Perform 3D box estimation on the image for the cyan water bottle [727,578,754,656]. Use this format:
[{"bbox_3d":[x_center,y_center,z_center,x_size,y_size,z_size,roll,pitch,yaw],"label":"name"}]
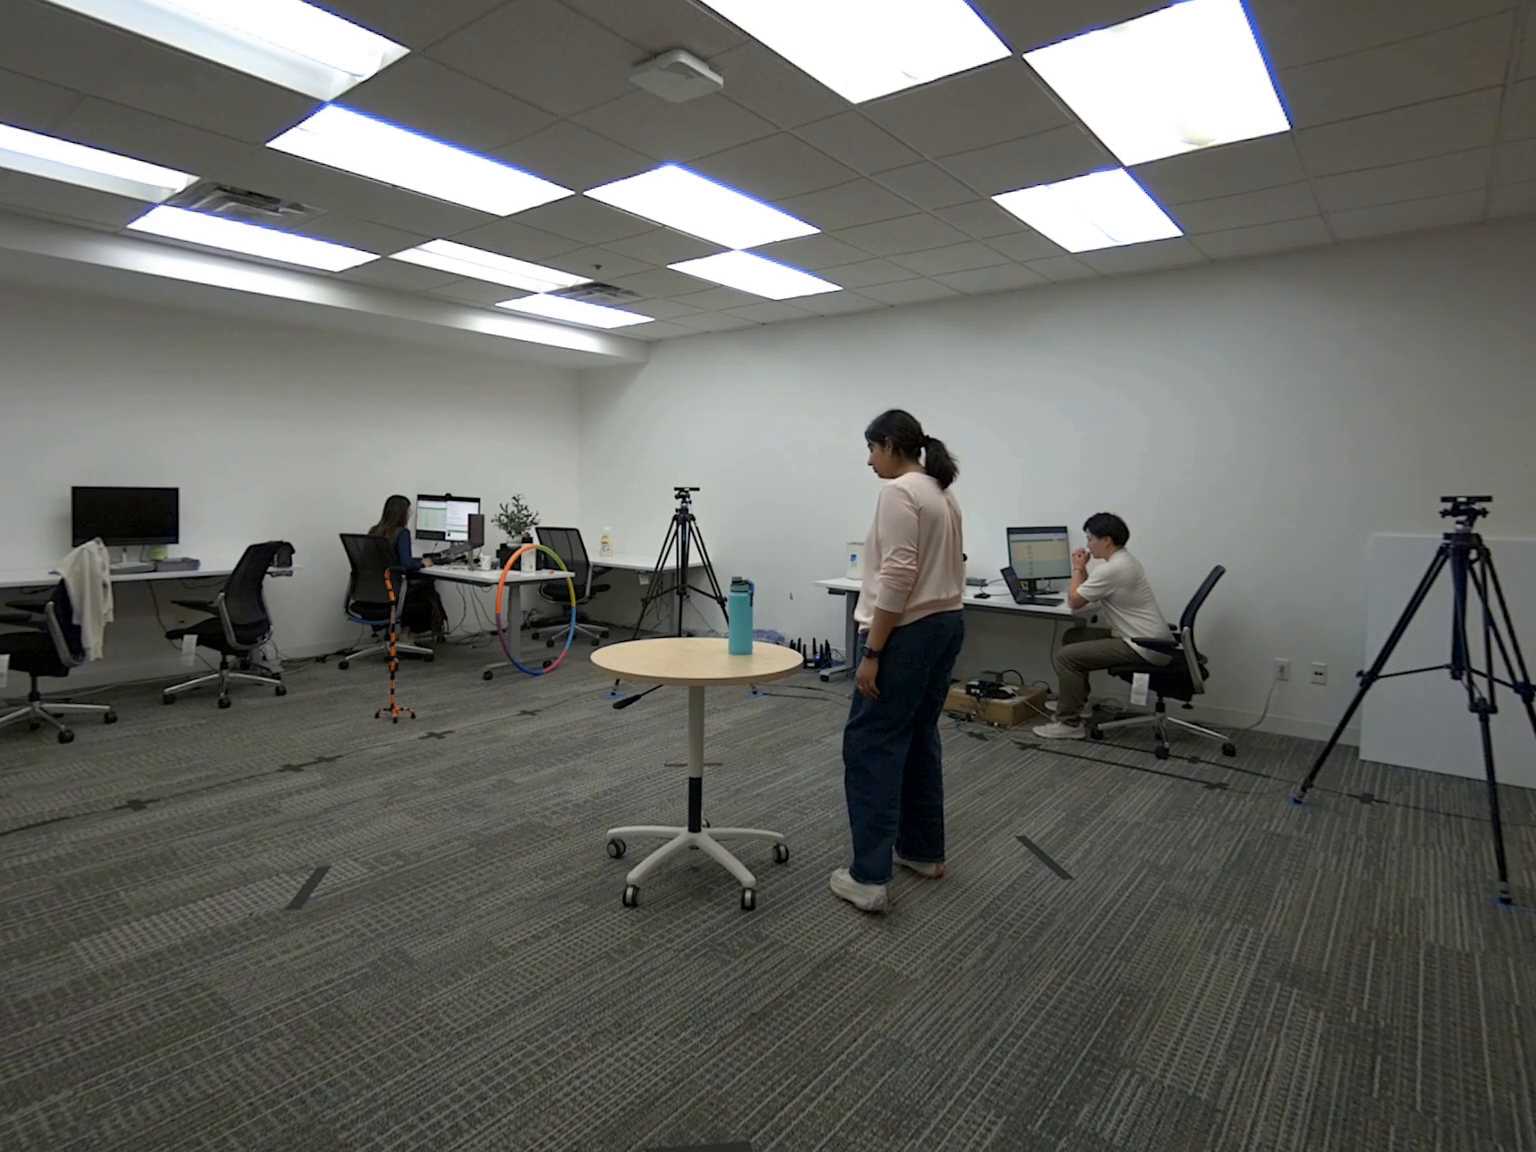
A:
[{"bbox_3d":[-0.105,0.140,3.139,0.092,0.283,0.092,2,1,-2],"label":"cyan water bottle"}]
